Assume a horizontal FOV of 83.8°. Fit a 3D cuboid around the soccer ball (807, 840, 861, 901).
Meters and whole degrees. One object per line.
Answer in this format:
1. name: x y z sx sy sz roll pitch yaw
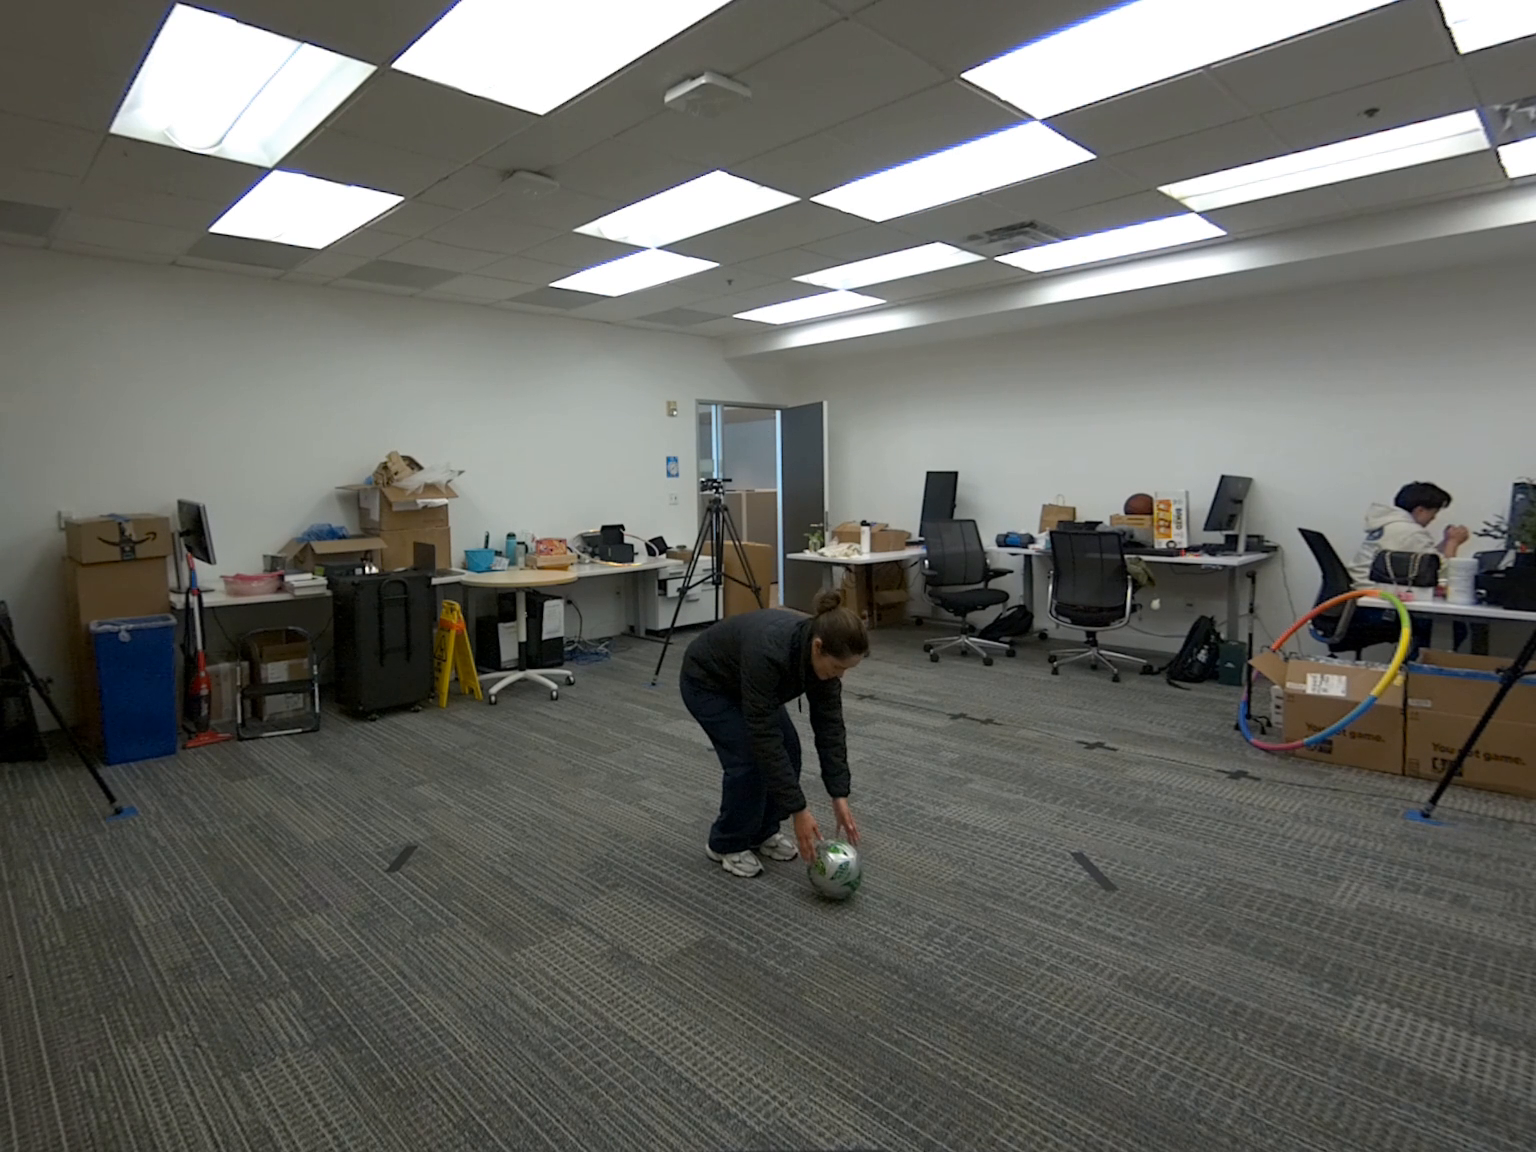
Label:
1. soccer ball: 0.231 0.977 2.843 0.187 0.187 0.188 -1 5 -2
